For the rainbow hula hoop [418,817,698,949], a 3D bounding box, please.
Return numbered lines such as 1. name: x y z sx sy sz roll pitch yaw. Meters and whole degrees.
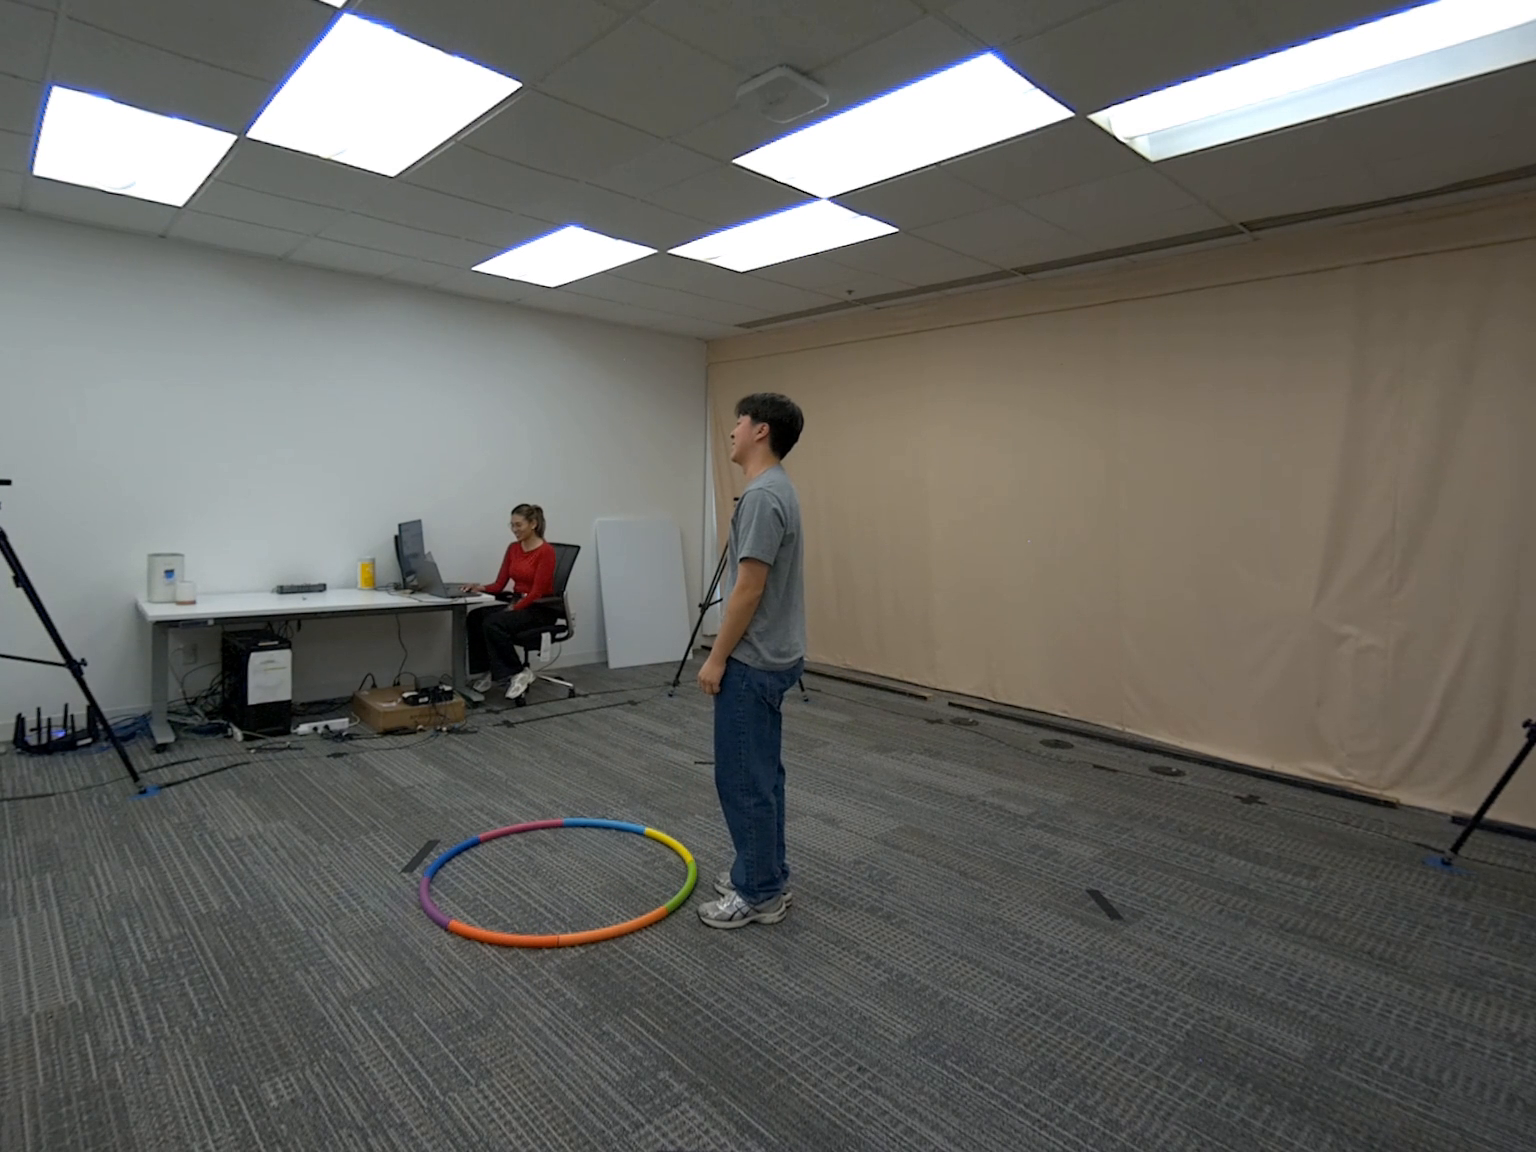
1. rainbow hula hoop: -0.756 1.065 3.066 0.978 0.035 0.982 1 5 -1
